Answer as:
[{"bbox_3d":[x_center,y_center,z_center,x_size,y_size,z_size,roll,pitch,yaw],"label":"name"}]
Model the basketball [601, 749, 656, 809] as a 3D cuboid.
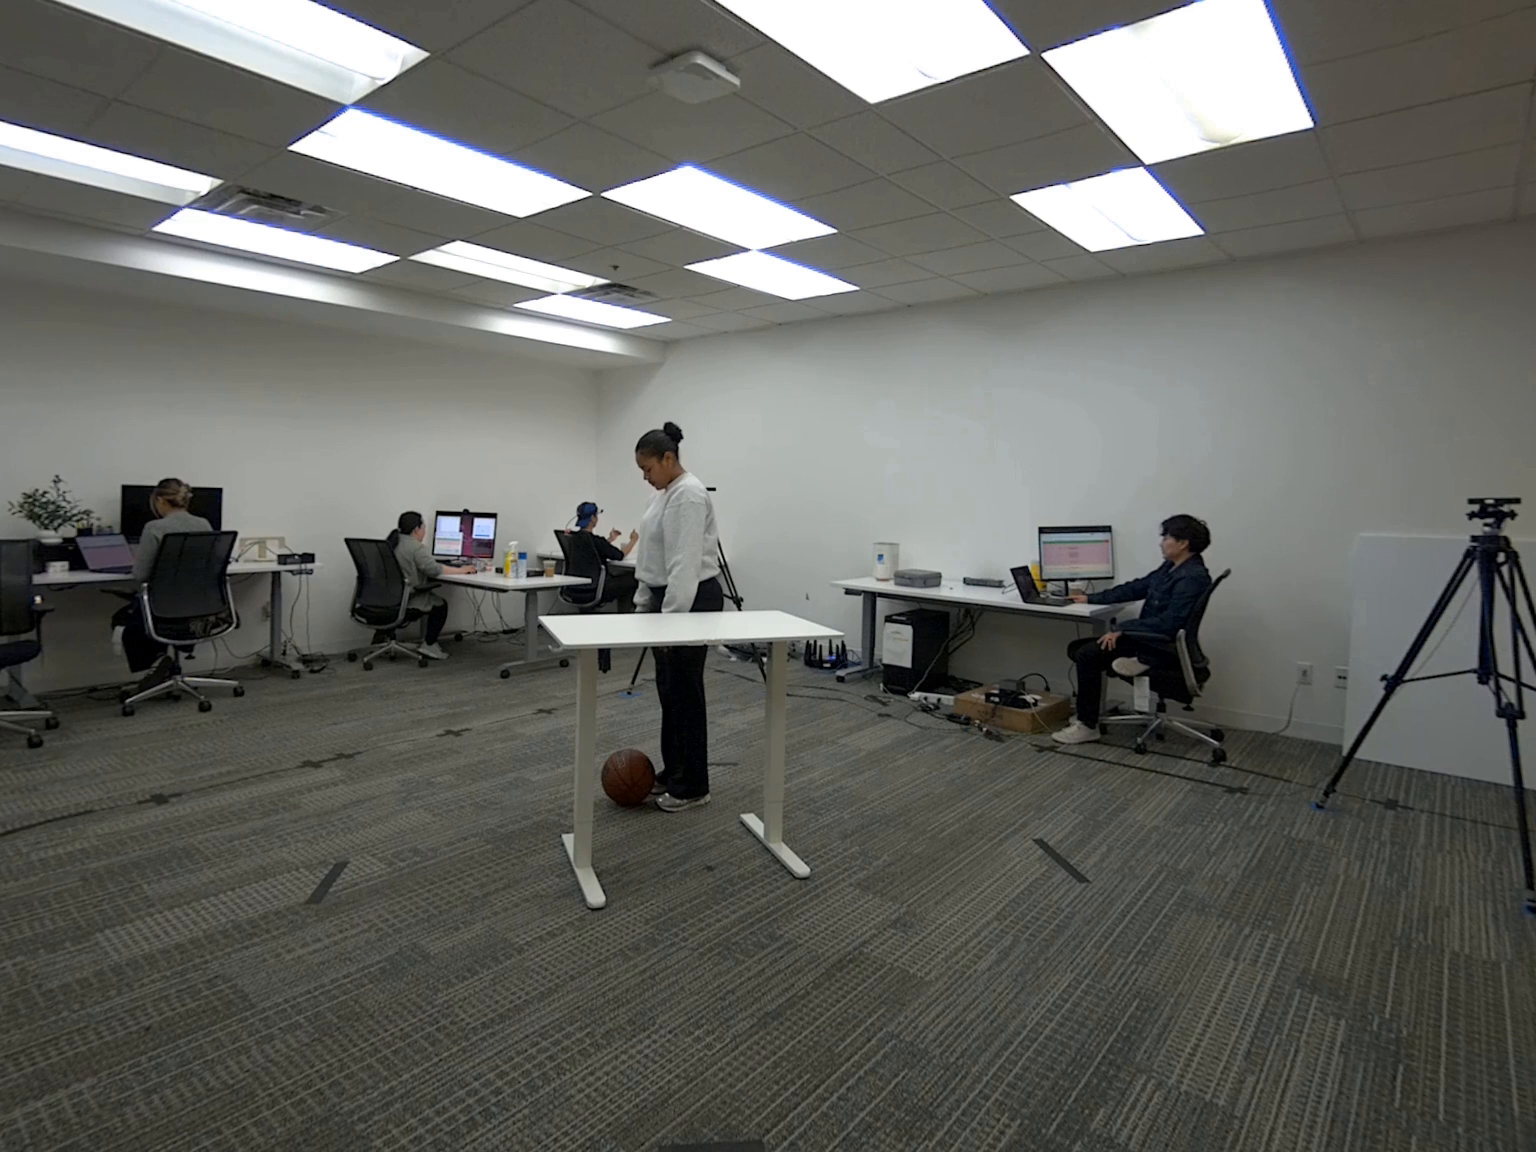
[{"bbox_3d":[-0.624,0.879,3.738,0.235,0.235,0.237,1,4,-2],"label":"basketball"}]
